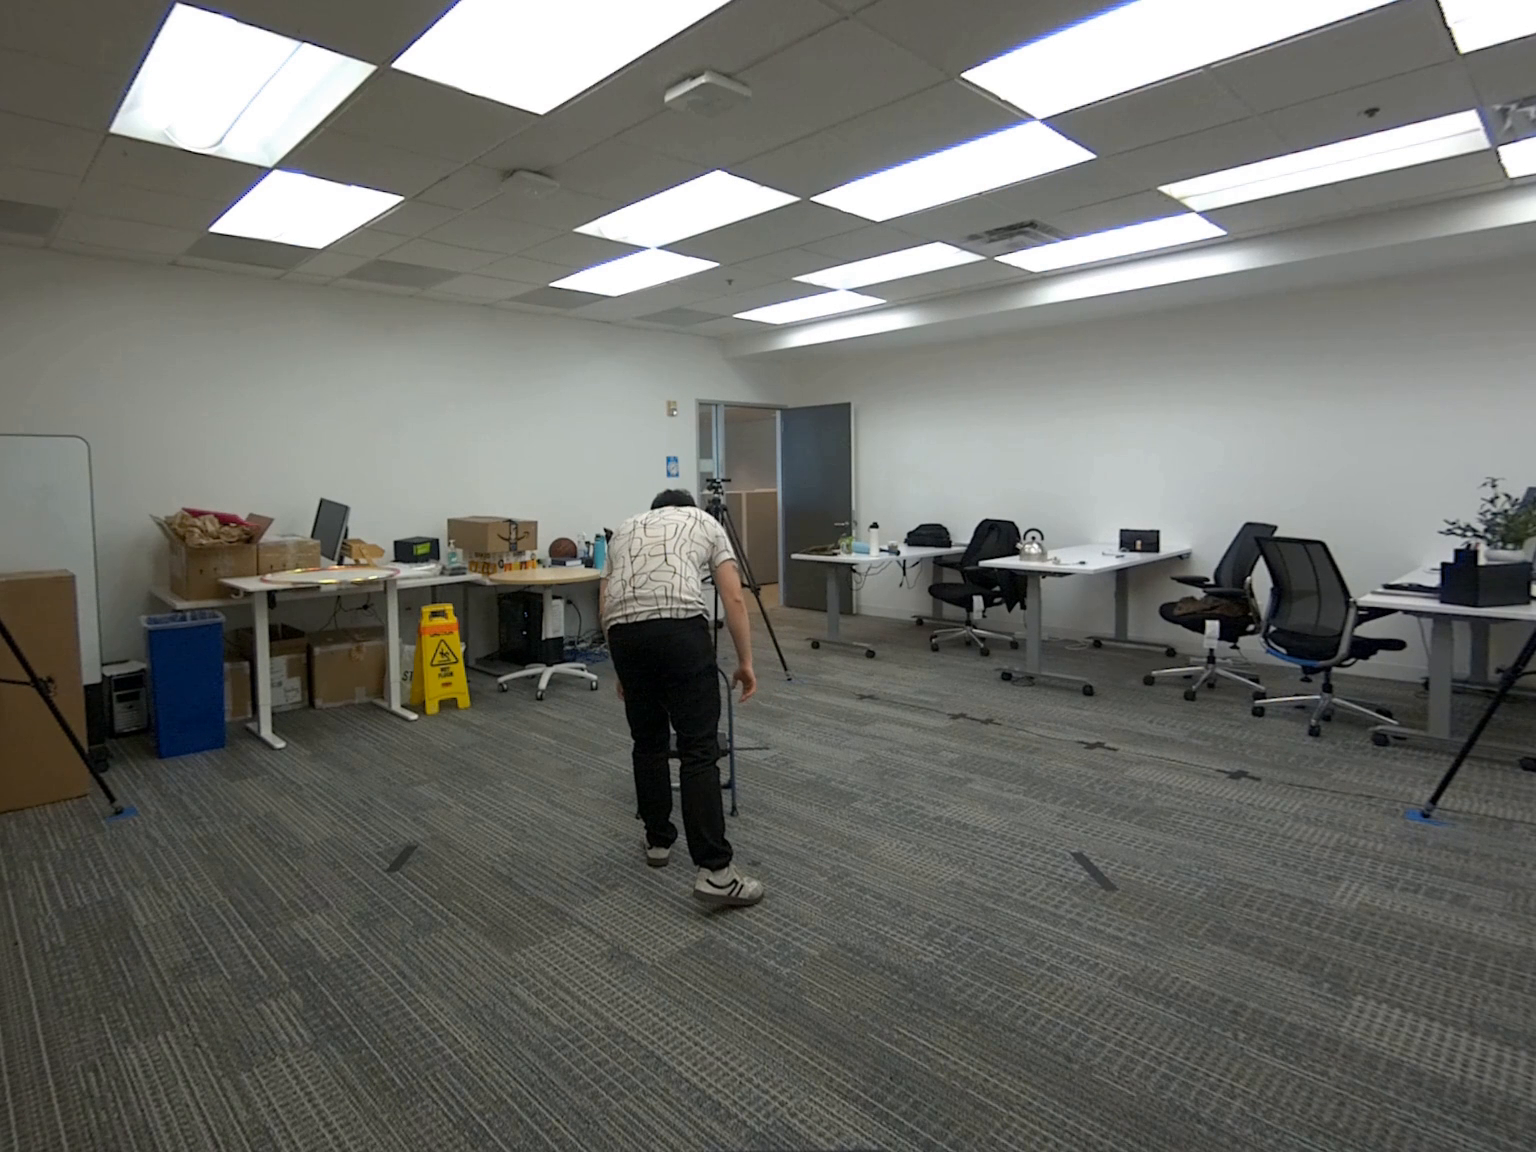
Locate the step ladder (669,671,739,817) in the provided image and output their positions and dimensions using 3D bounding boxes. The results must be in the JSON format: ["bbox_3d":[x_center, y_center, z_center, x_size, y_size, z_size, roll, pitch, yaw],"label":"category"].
[{"bbox_3d":[-0.352,0.682,3.698,0.430,0.603,0.351,-1,5,-3],"label":"step ladder"}]
